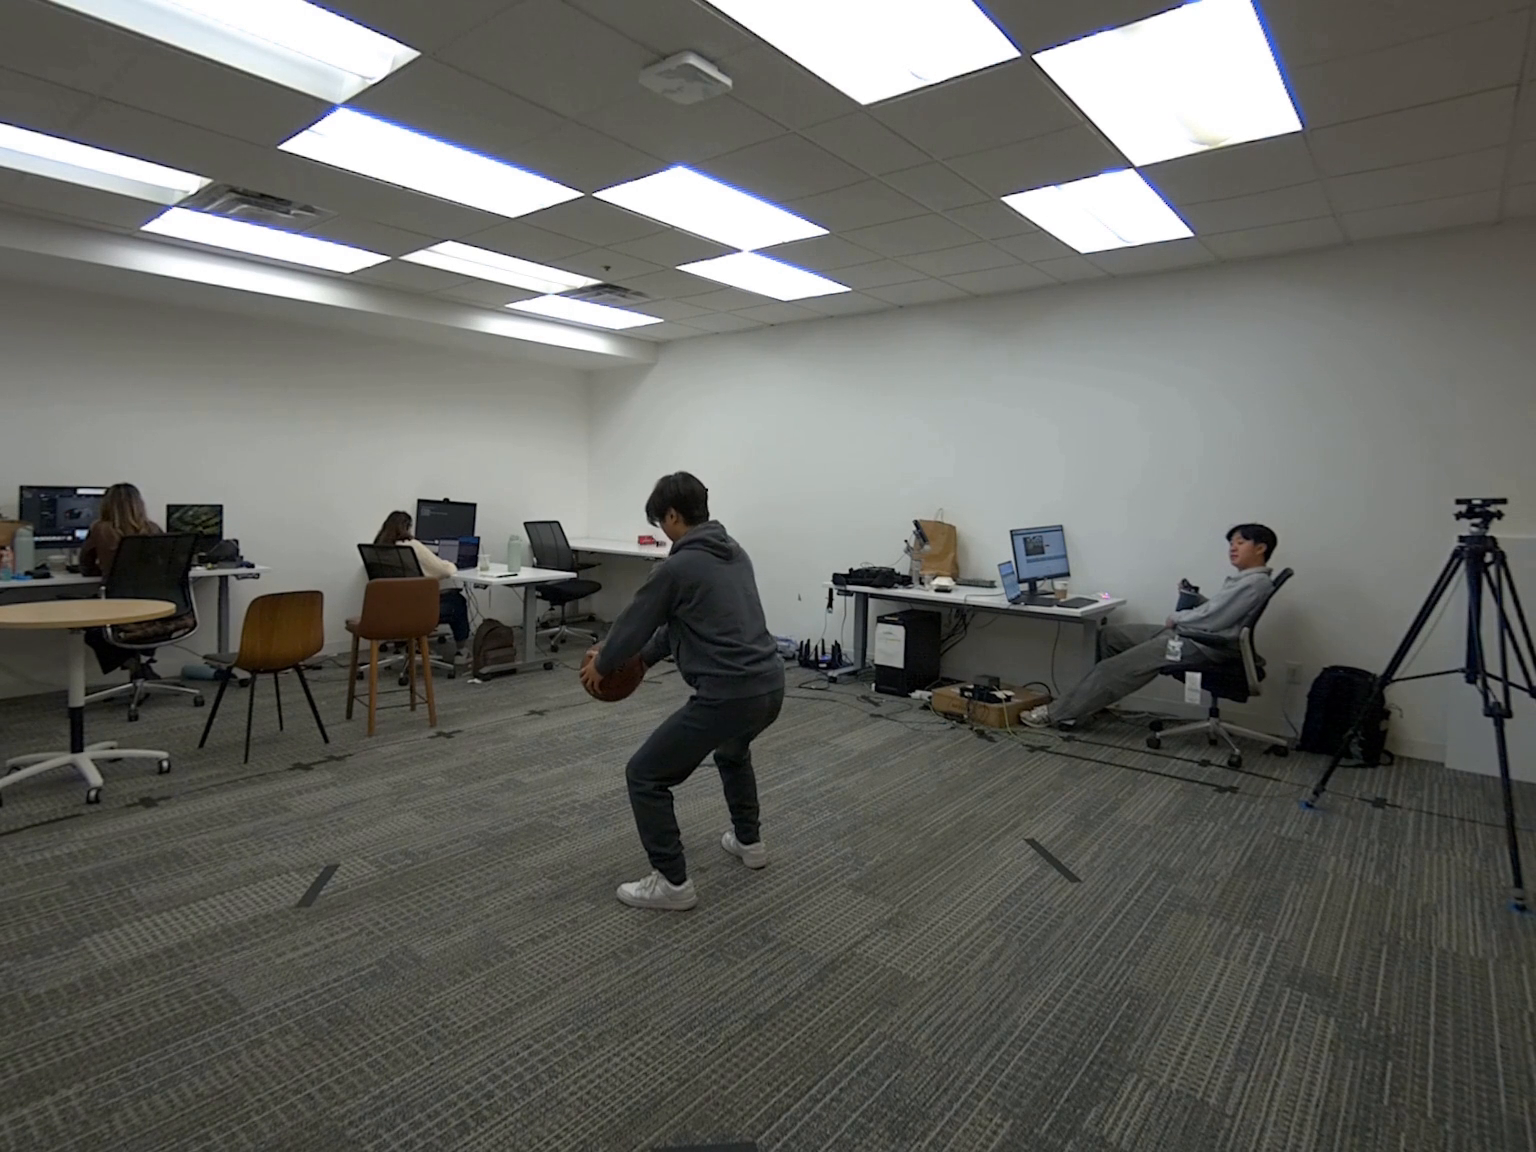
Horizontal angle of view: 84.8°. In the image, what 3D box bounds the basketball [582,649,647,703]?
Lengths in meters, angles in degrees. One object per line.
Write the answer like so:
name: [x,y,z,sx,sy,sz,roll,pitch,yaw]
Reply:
basketball: [-0.614,0.368,3.305,0.235,0.235,0.237,1,4,-2]
